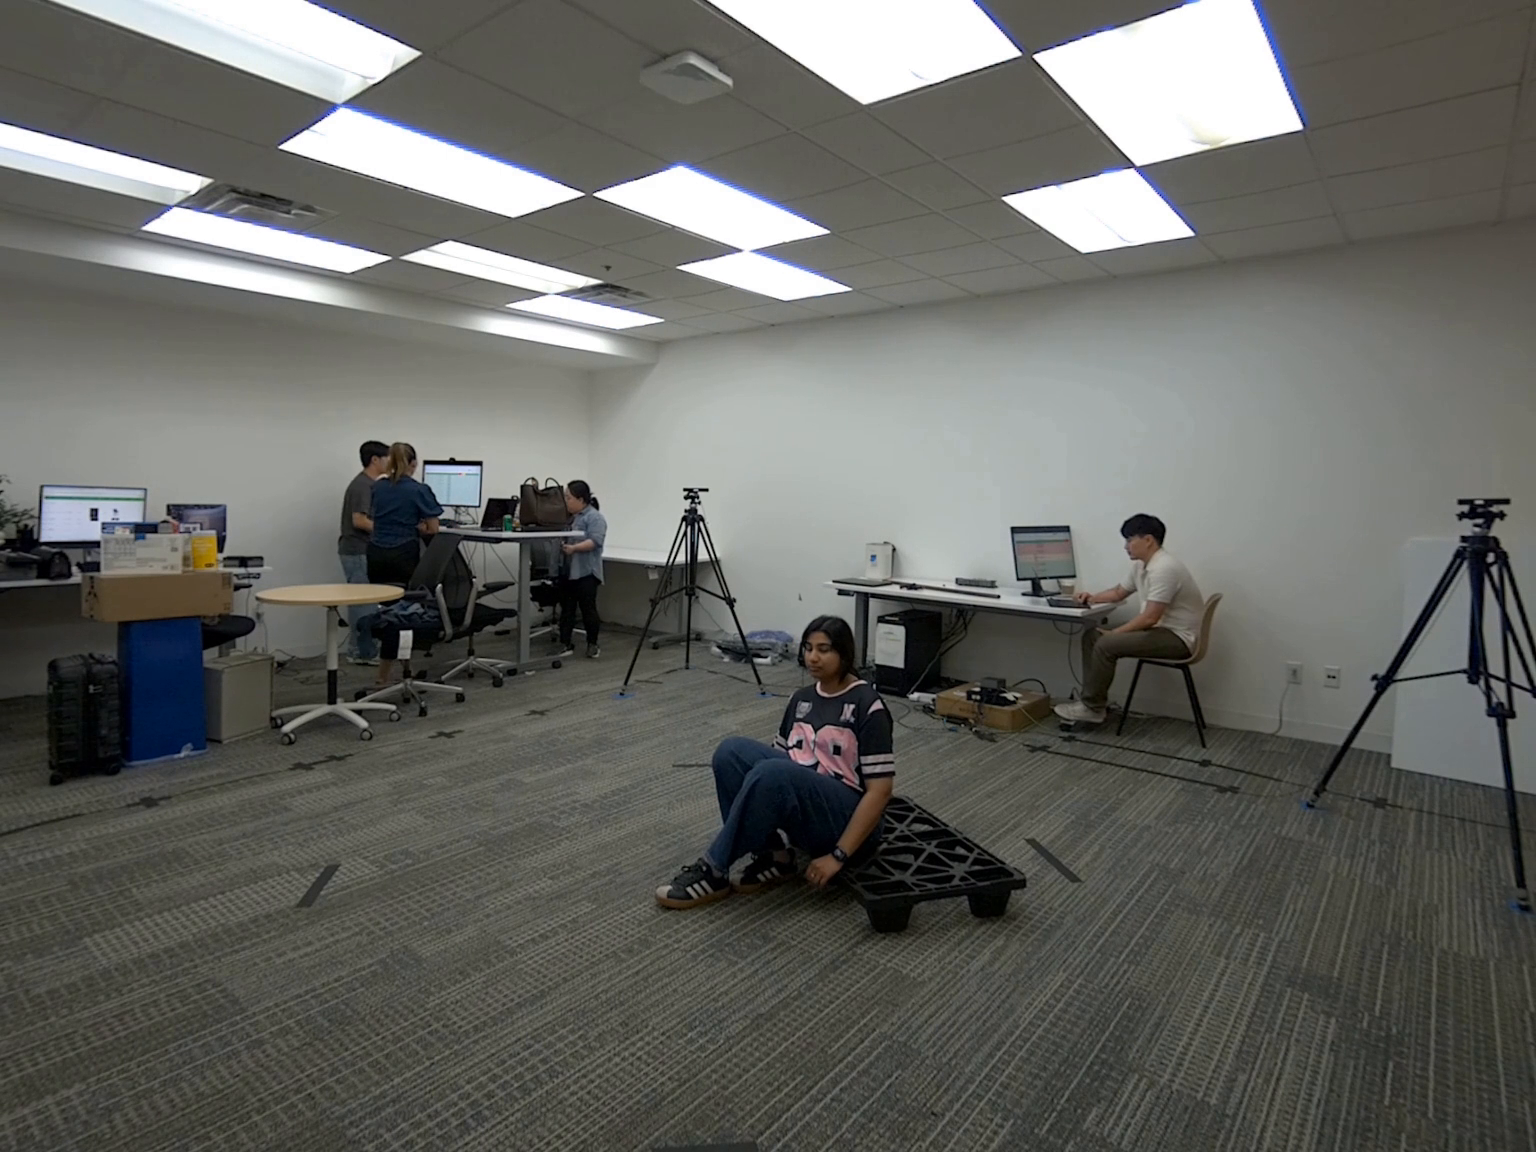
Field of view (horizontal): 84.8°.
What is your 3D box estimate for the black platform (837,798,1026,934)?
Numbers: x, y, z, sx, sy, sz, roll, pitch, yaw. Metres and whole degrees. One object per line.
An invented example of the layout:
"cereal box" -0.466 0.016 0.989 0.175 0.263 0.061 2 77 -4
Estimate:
"black platform" 0.432 1.020 3.086 0.594 0.143 0.824 -1 5 -20
